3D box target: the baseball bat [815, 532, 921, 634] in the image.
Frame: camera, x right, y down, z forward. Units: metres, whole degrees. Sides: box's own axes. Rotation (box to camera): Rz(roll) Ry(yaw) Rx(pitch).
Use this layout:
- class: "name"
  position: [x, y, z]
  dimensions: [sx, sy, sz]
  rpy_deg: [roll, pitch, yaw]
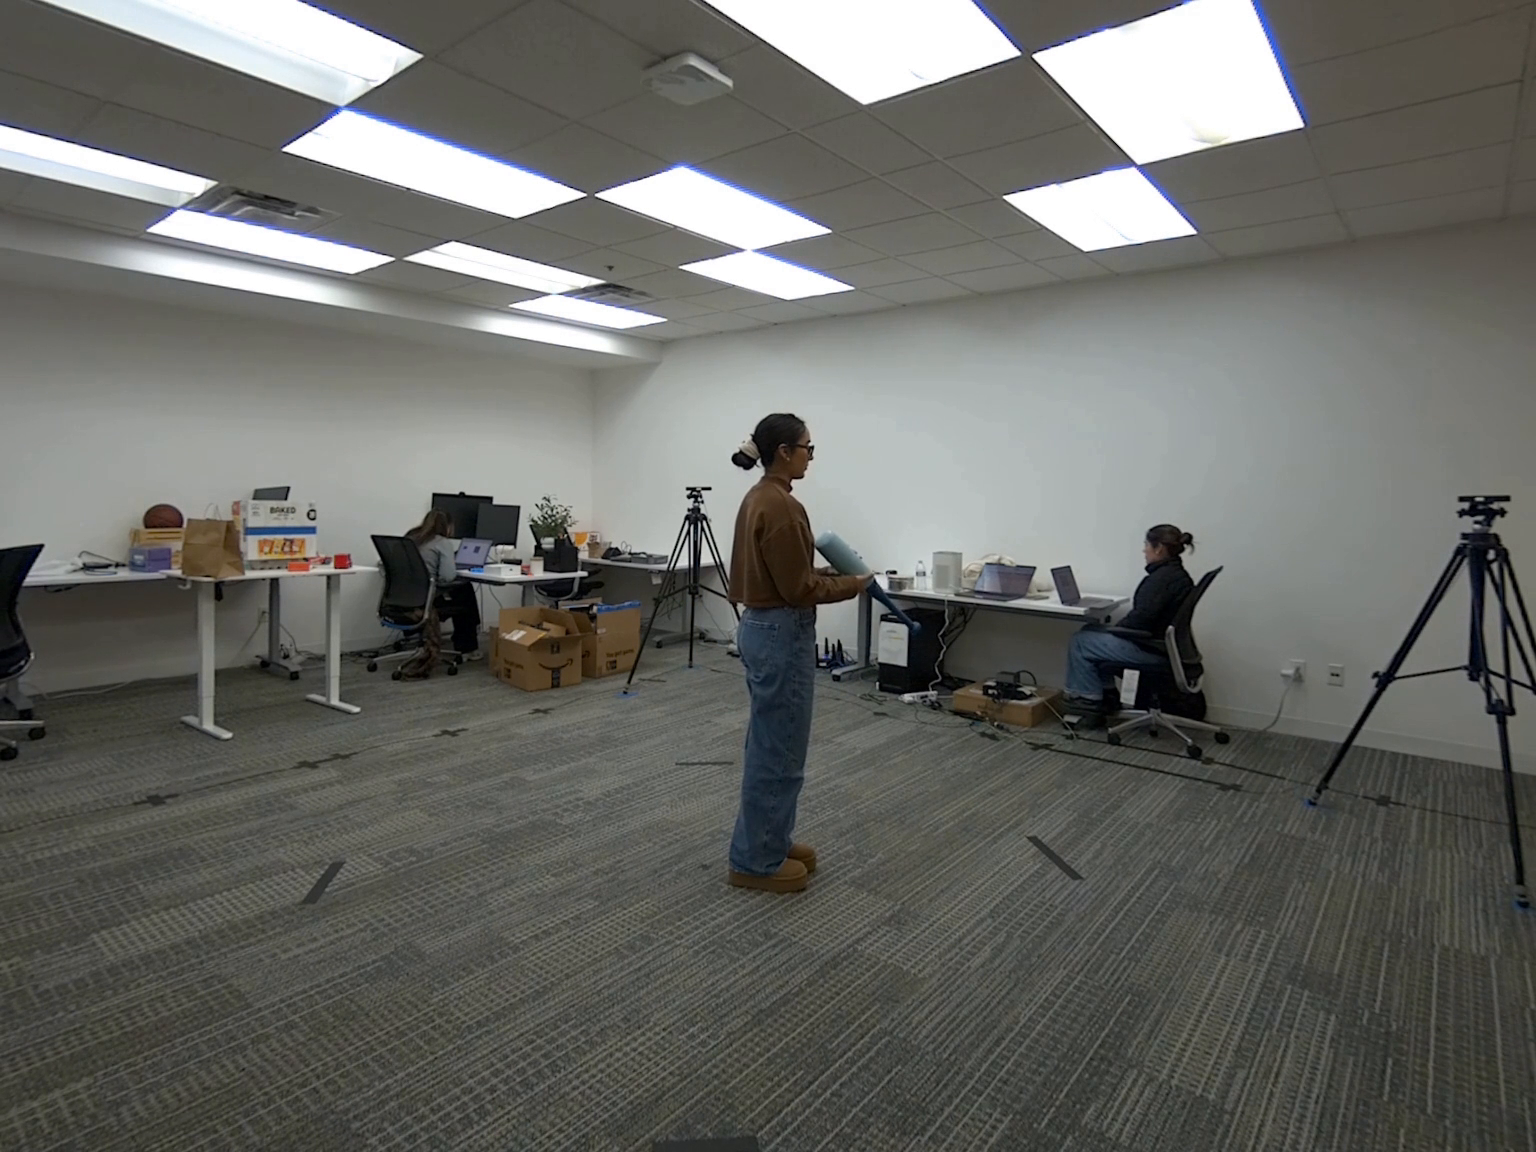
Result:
- class: "baseball bat"
  position: [0.362, 0.036, 3.036]
  dimensions: [0.528, 0.089, 0.091]
  rpy_deg: [43, -14, -20]
